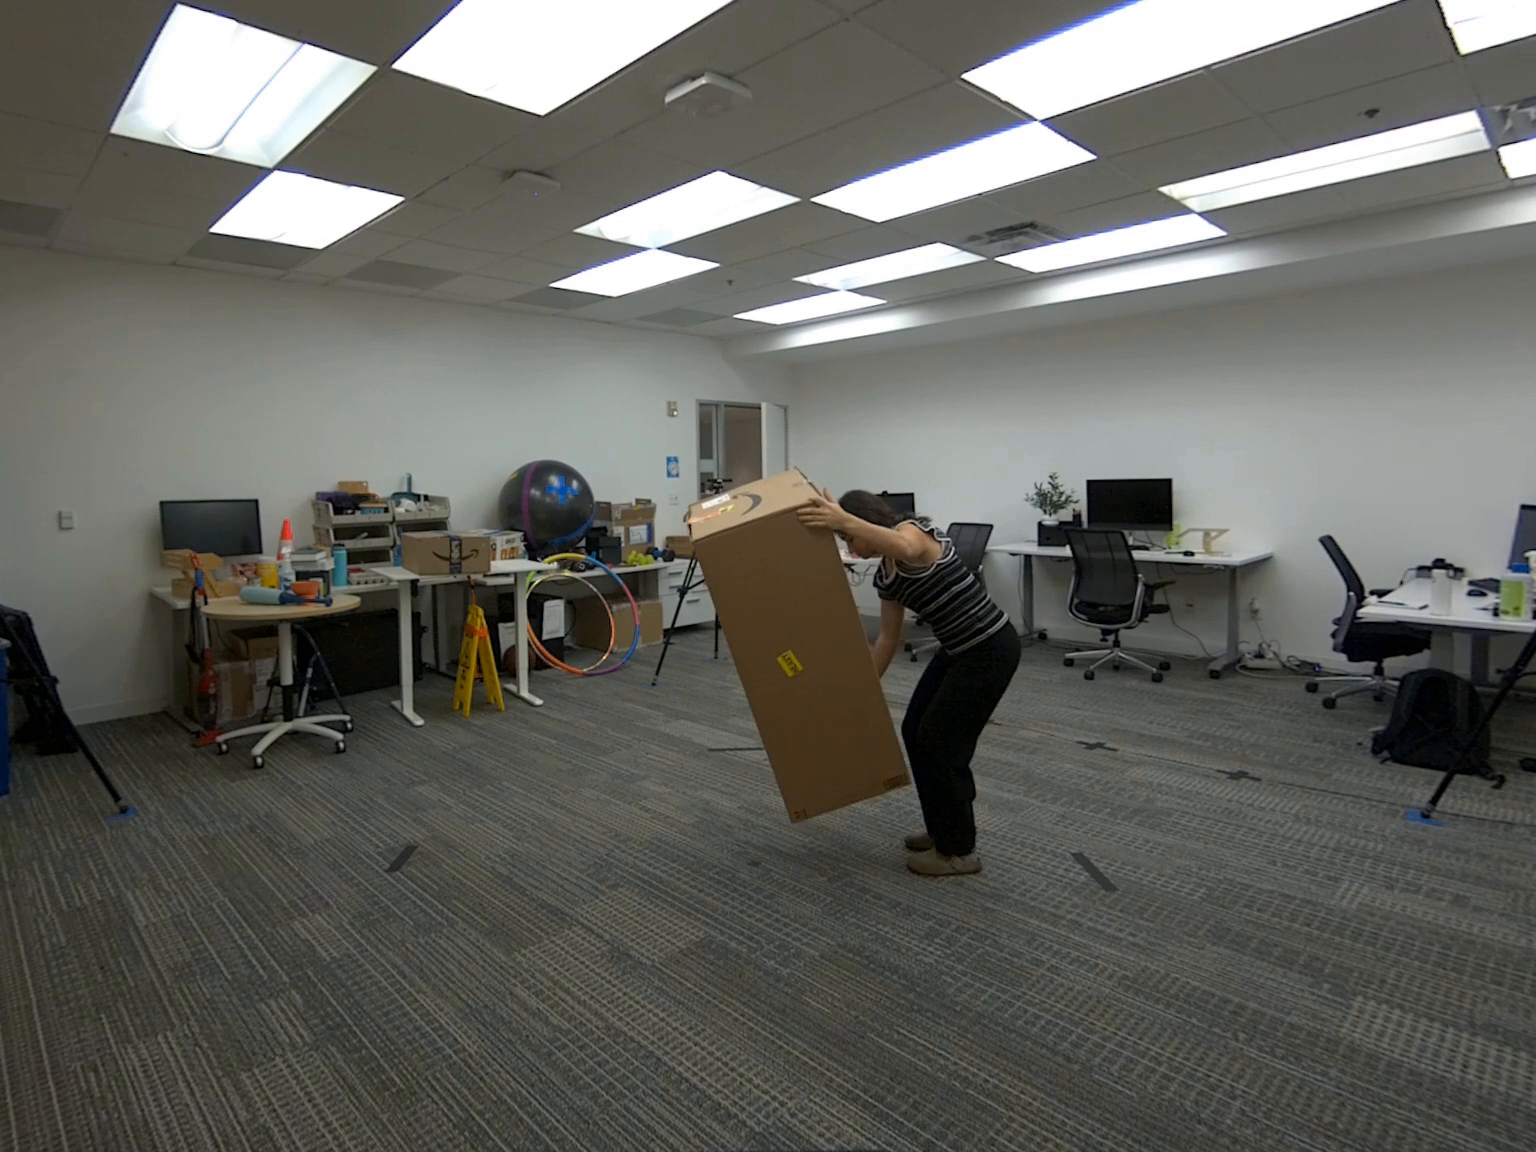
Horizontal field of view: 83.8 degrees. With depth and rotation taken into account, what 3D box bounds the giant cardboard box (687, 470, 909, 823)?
[{"bbox_3d":[0.096,0.213,2.969,0.426,1.009,0.587,-19,14,-1],"label":"giant cardboard box"}]
